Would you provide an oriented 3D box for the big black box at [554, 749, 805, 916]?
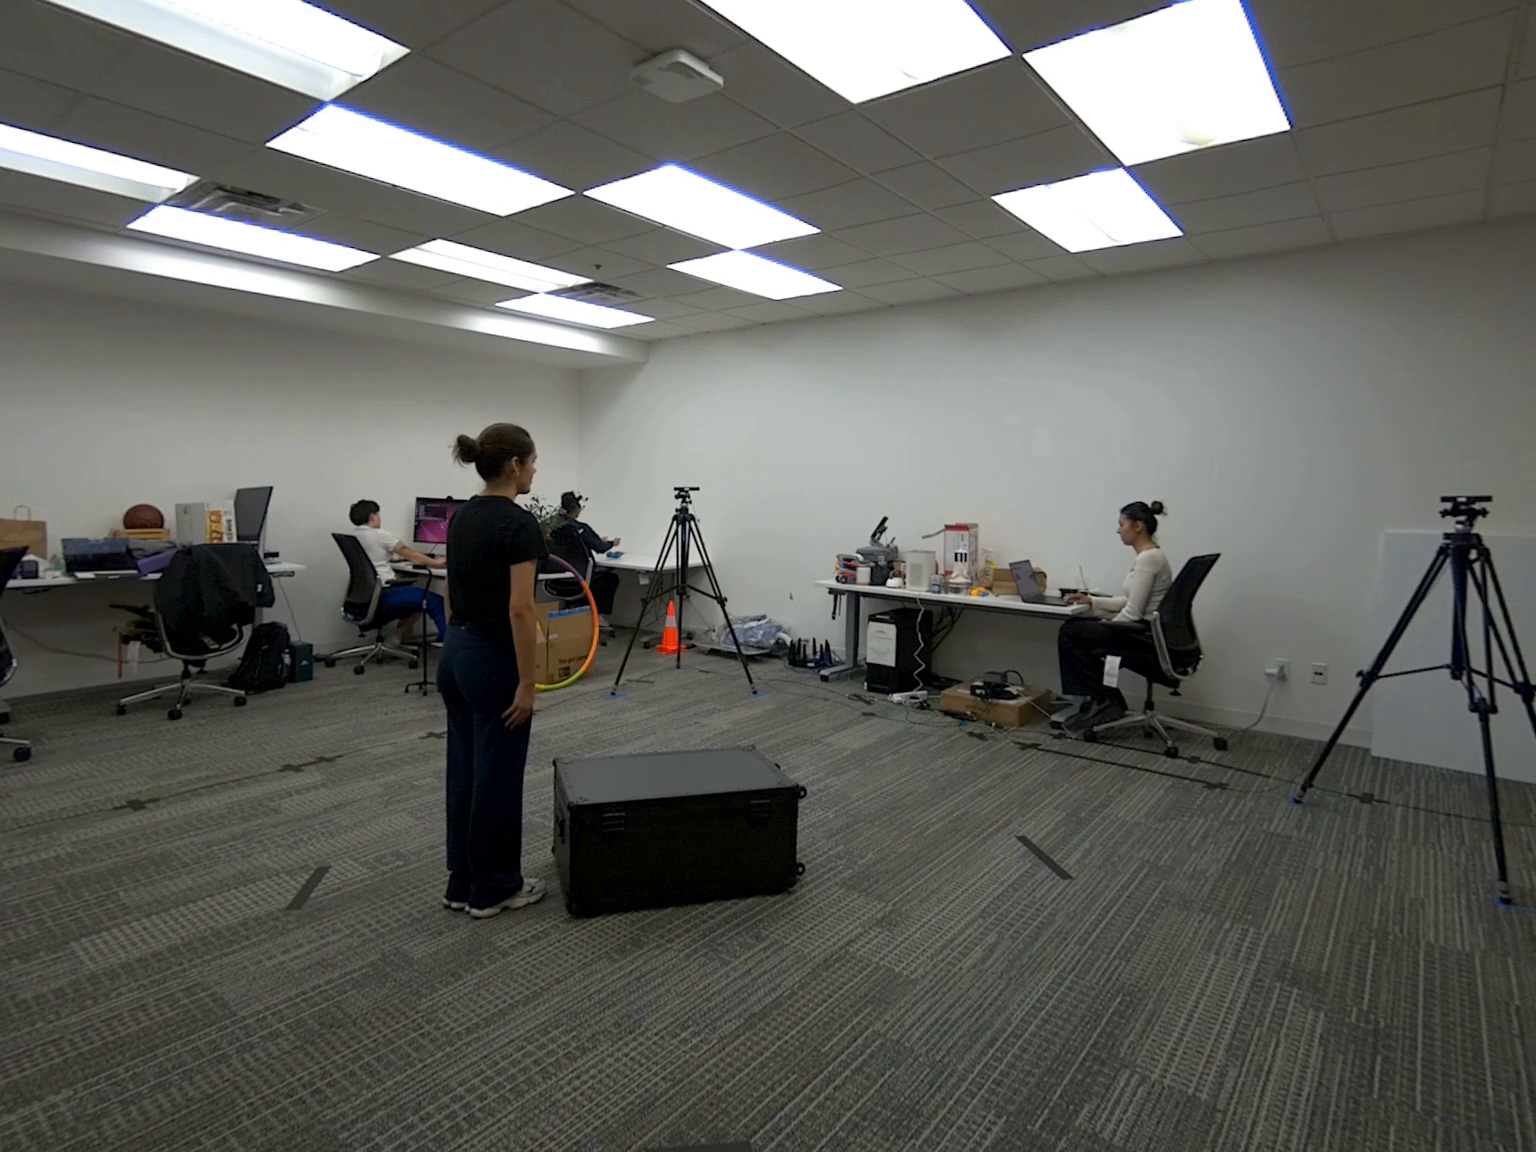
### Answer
[{"bbox_3d":[-0.300,0.875,3.059,0.846,0.395,0.532,-1,5,-17],"label":"big black box"}]
